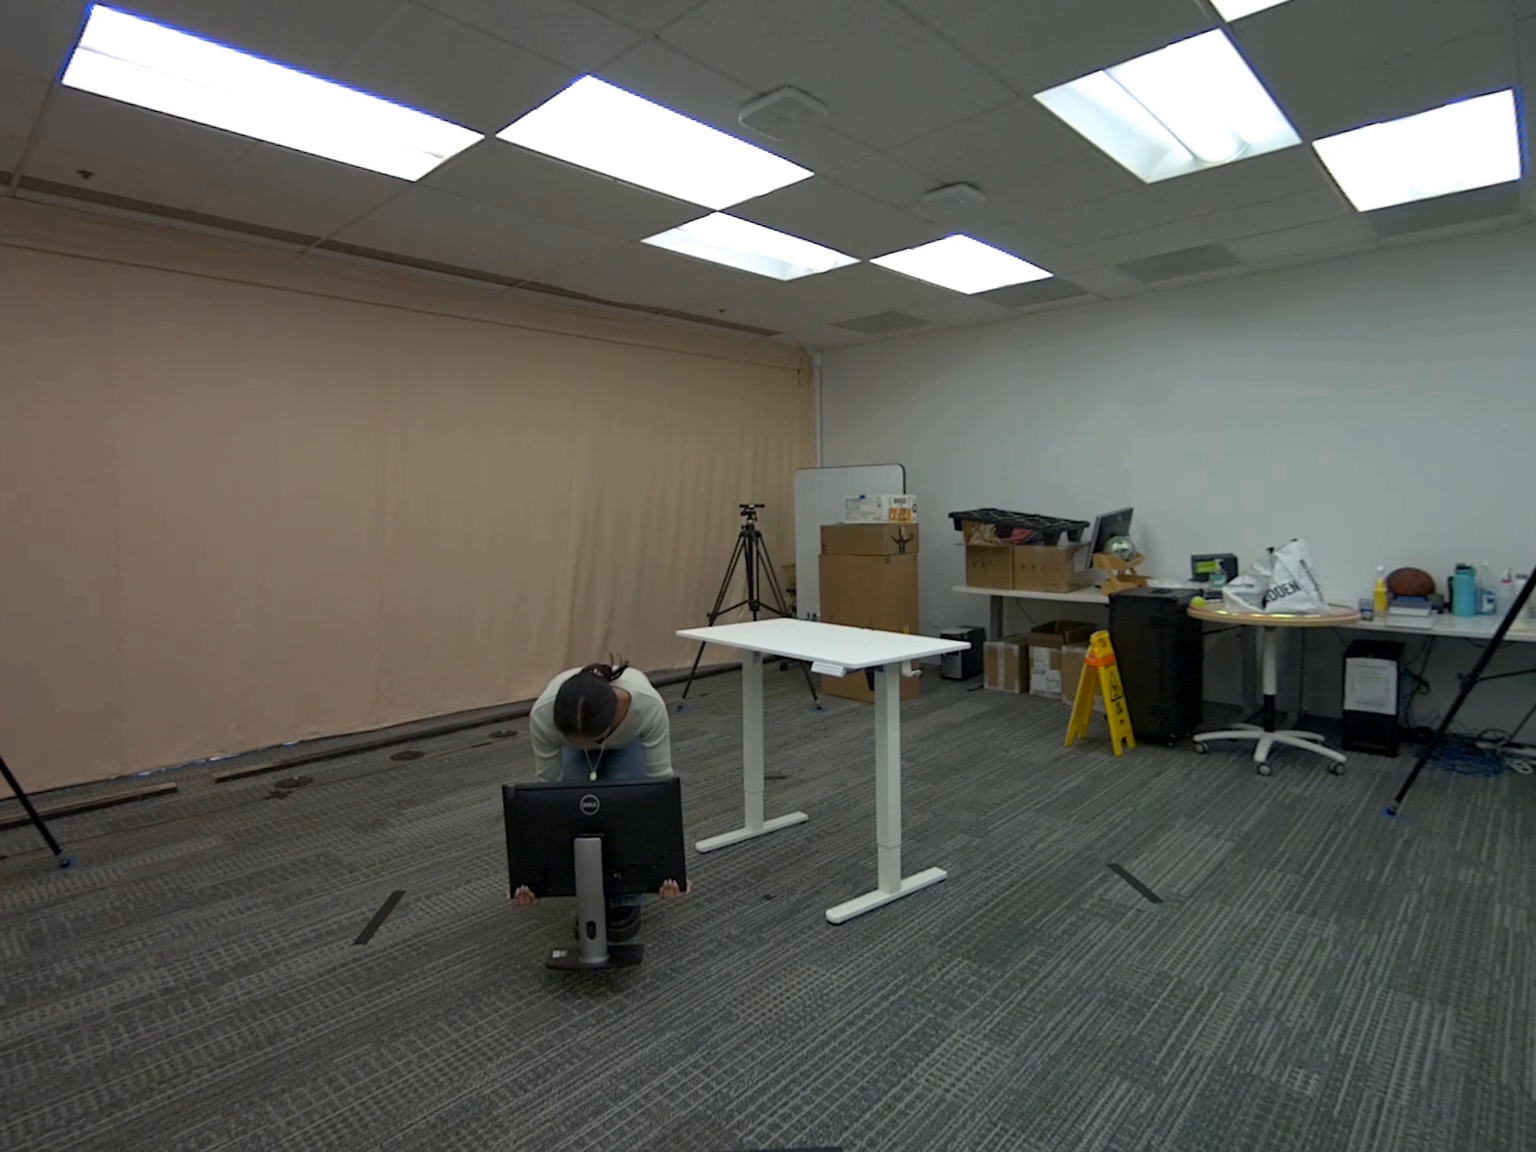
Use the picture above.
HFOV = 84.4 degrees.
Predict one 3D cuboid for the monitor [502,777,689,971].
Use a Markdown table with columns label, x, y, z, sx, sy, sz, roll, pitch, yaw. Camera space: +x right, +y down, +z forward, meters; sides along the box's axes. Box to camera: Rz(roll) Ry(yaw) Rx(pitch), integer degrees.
| label | x | y | z | sx | sy | sz | roll | pitch | yaw |
| --- | --- | --- | --- | --- | --- | --- | --- | --- | --- |
| monitor | -0.513 | 0.866 | 2.480 | 0.538 | 0.524 | 0.186 | -1 | -6 | -1 |
